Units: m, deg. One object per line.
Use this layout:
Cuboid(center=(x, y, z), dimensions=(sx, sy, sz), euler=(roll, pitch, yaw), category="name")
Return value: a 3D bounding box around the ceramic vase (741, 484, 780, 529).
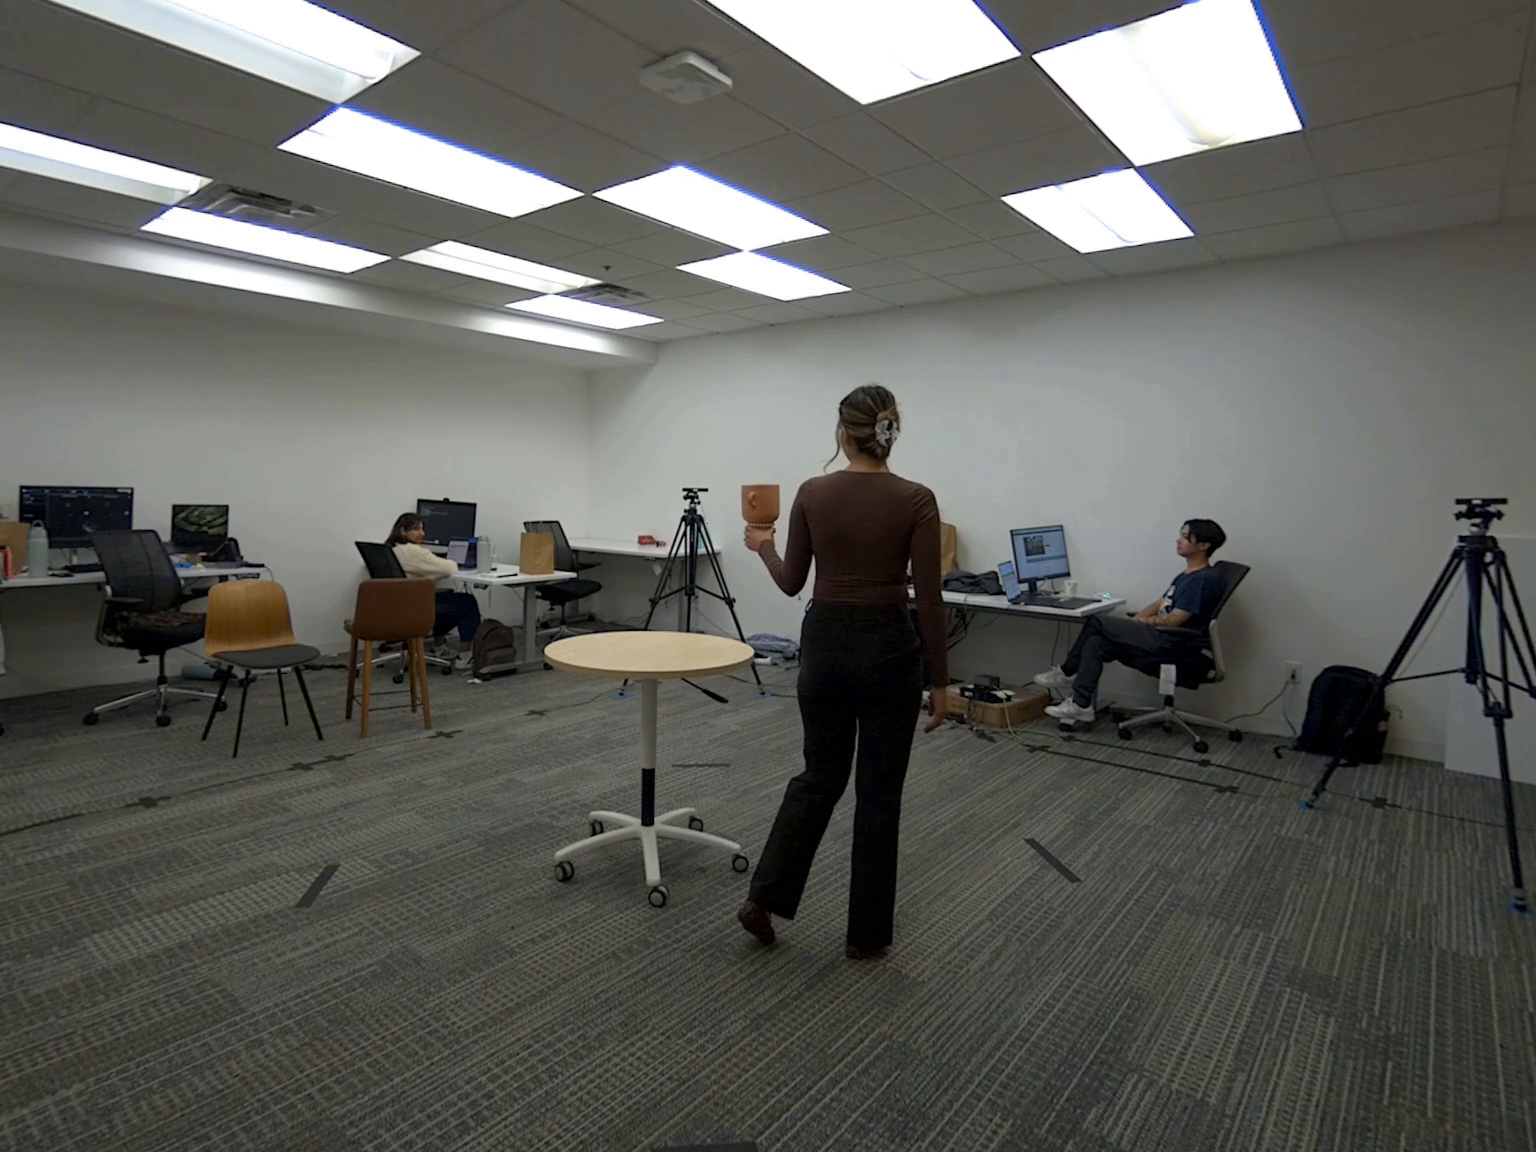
Cuboid(center=(-0.033, -0.210, 2.953), dimensions=(0.155, 0.219, 0.138), euler=(-1, 4, -27), category="ceramic vase")
